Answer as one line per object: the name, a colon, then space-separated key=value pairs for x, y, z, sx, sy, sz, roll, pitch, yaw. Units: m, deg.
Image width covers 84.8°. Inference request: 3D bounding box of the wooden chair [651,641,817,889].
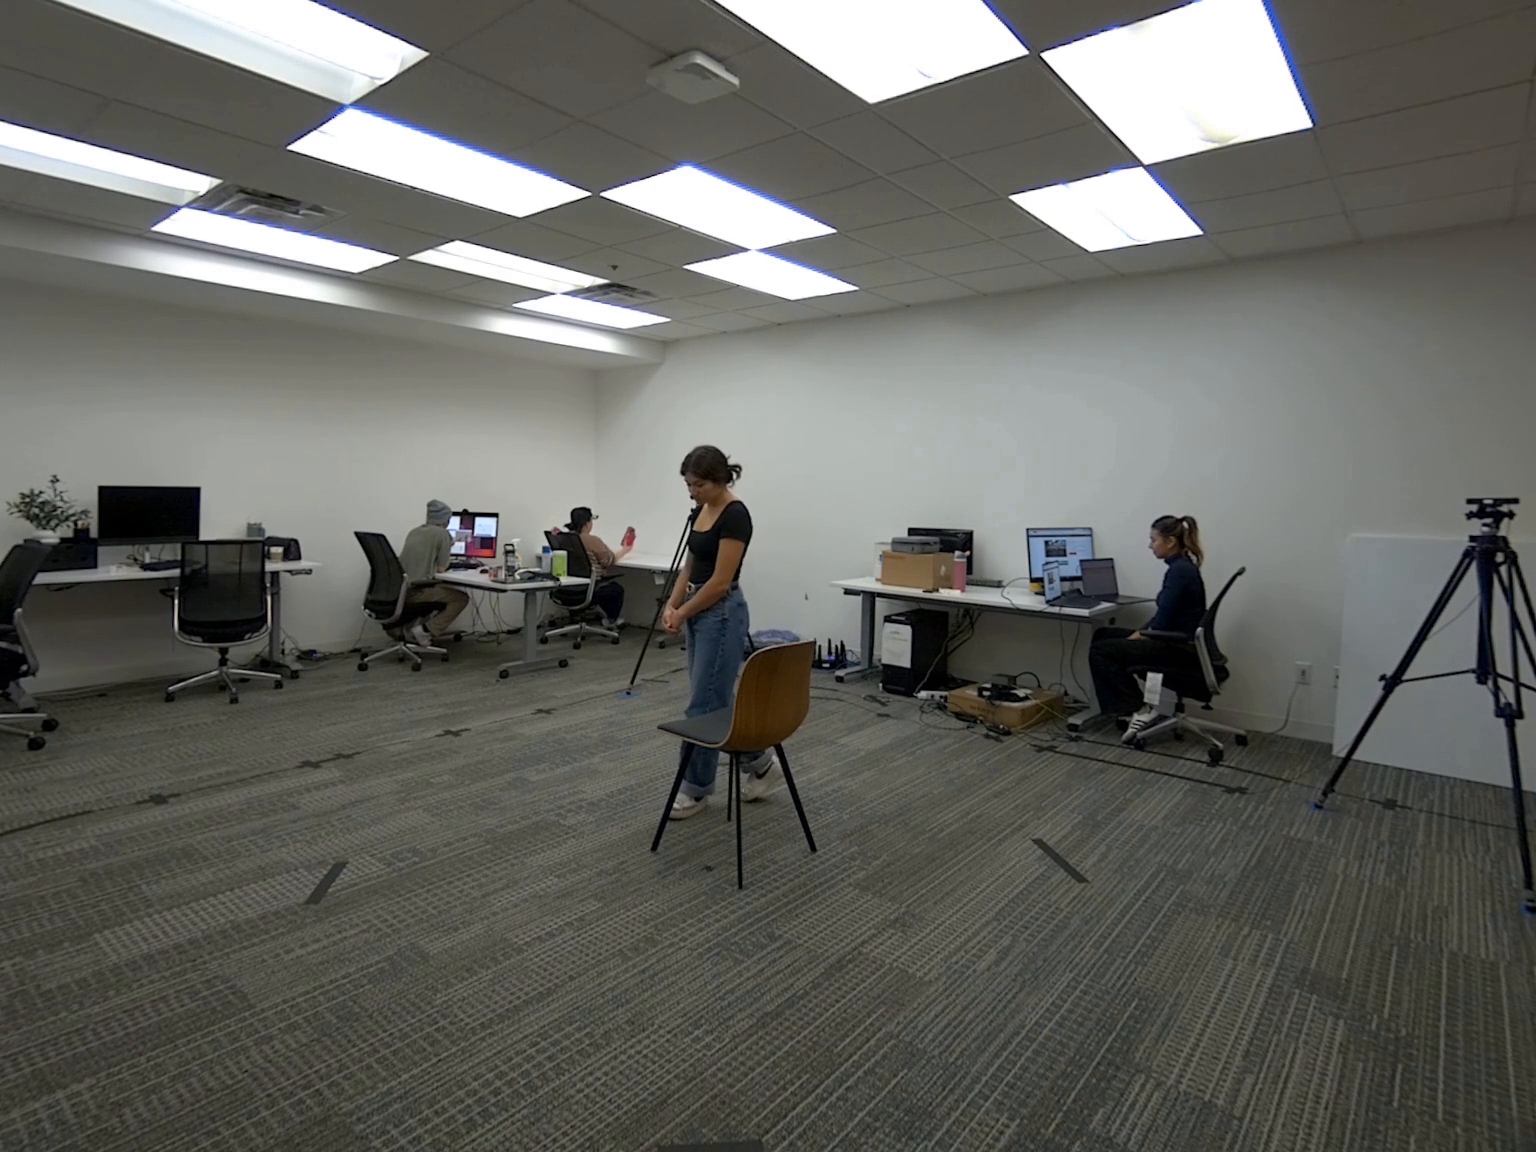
wooden chair: x=-0.135 y=0.629 z=3.239 sx=0.542 sy=0.872 sz=0.464 roll=10 pitch=8 yaw=39
